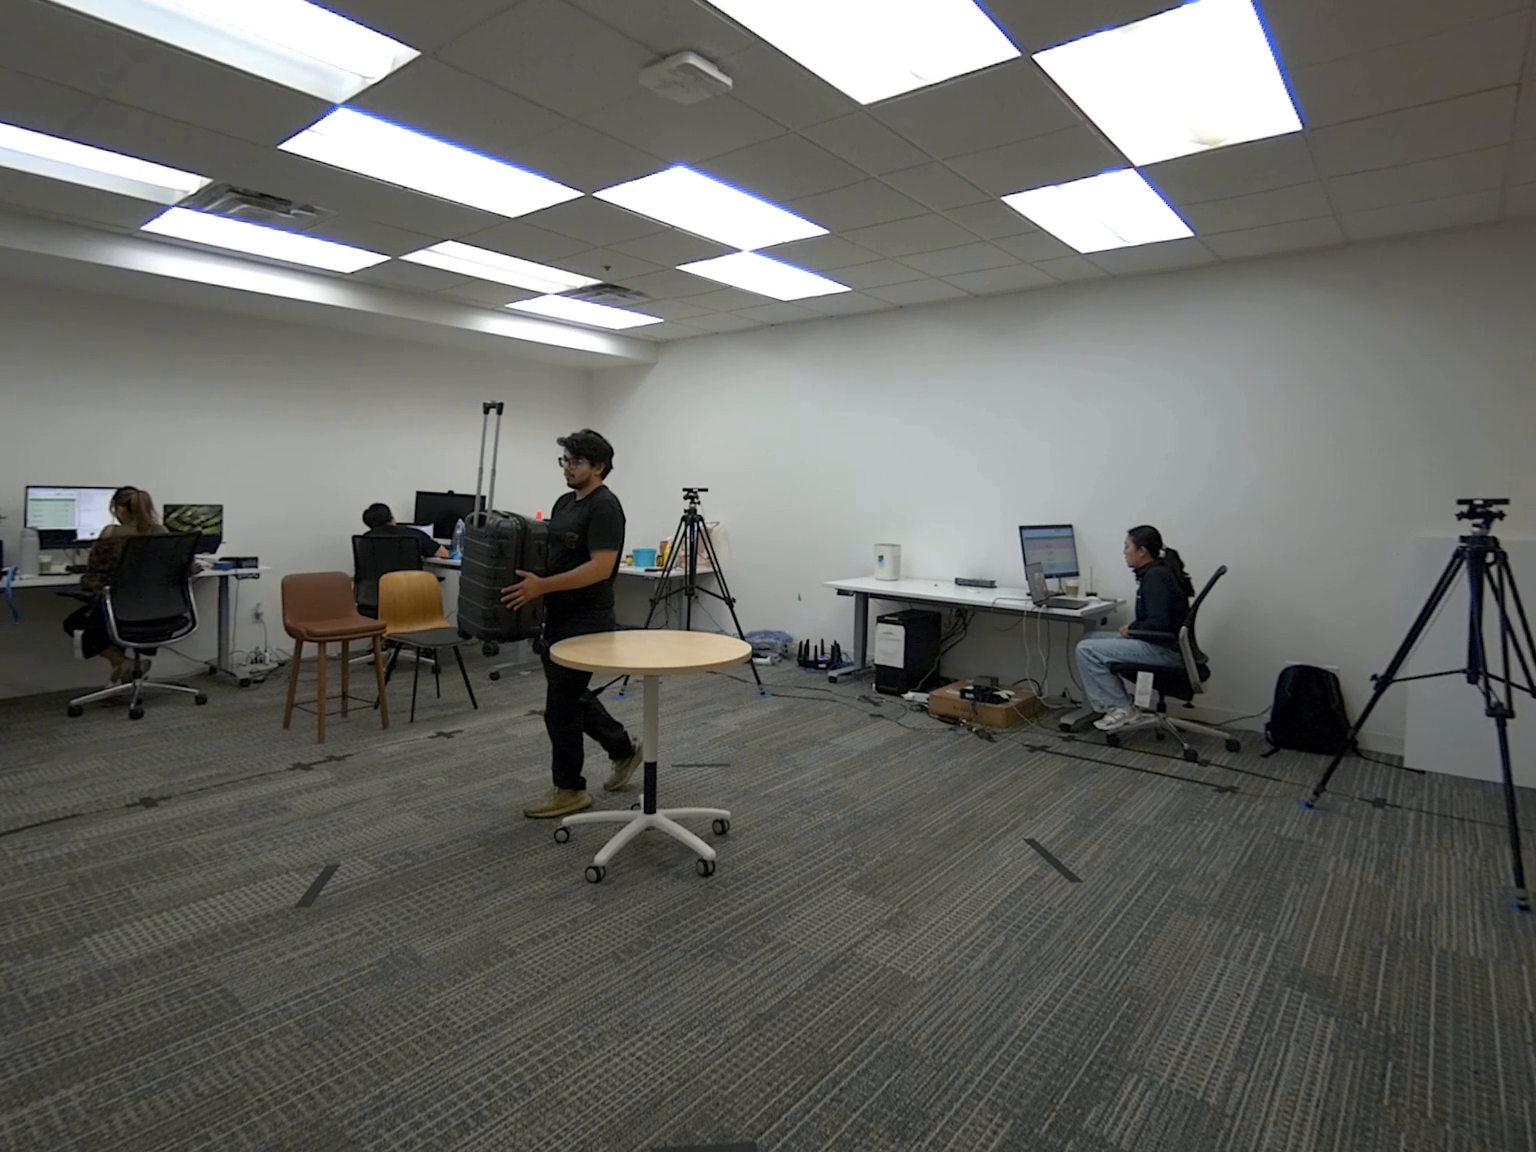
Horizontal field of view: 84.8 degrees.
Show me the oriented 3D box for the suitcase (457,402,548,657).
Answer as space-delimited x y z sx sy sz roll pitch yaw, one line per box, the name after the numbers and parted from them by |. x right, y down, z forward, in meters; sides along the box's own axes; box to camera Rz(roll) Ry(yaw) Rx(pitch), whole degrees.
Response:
-1.073 -0.203 3.461 0.249 0.976 0.398 5 4 -38 | suitcase
